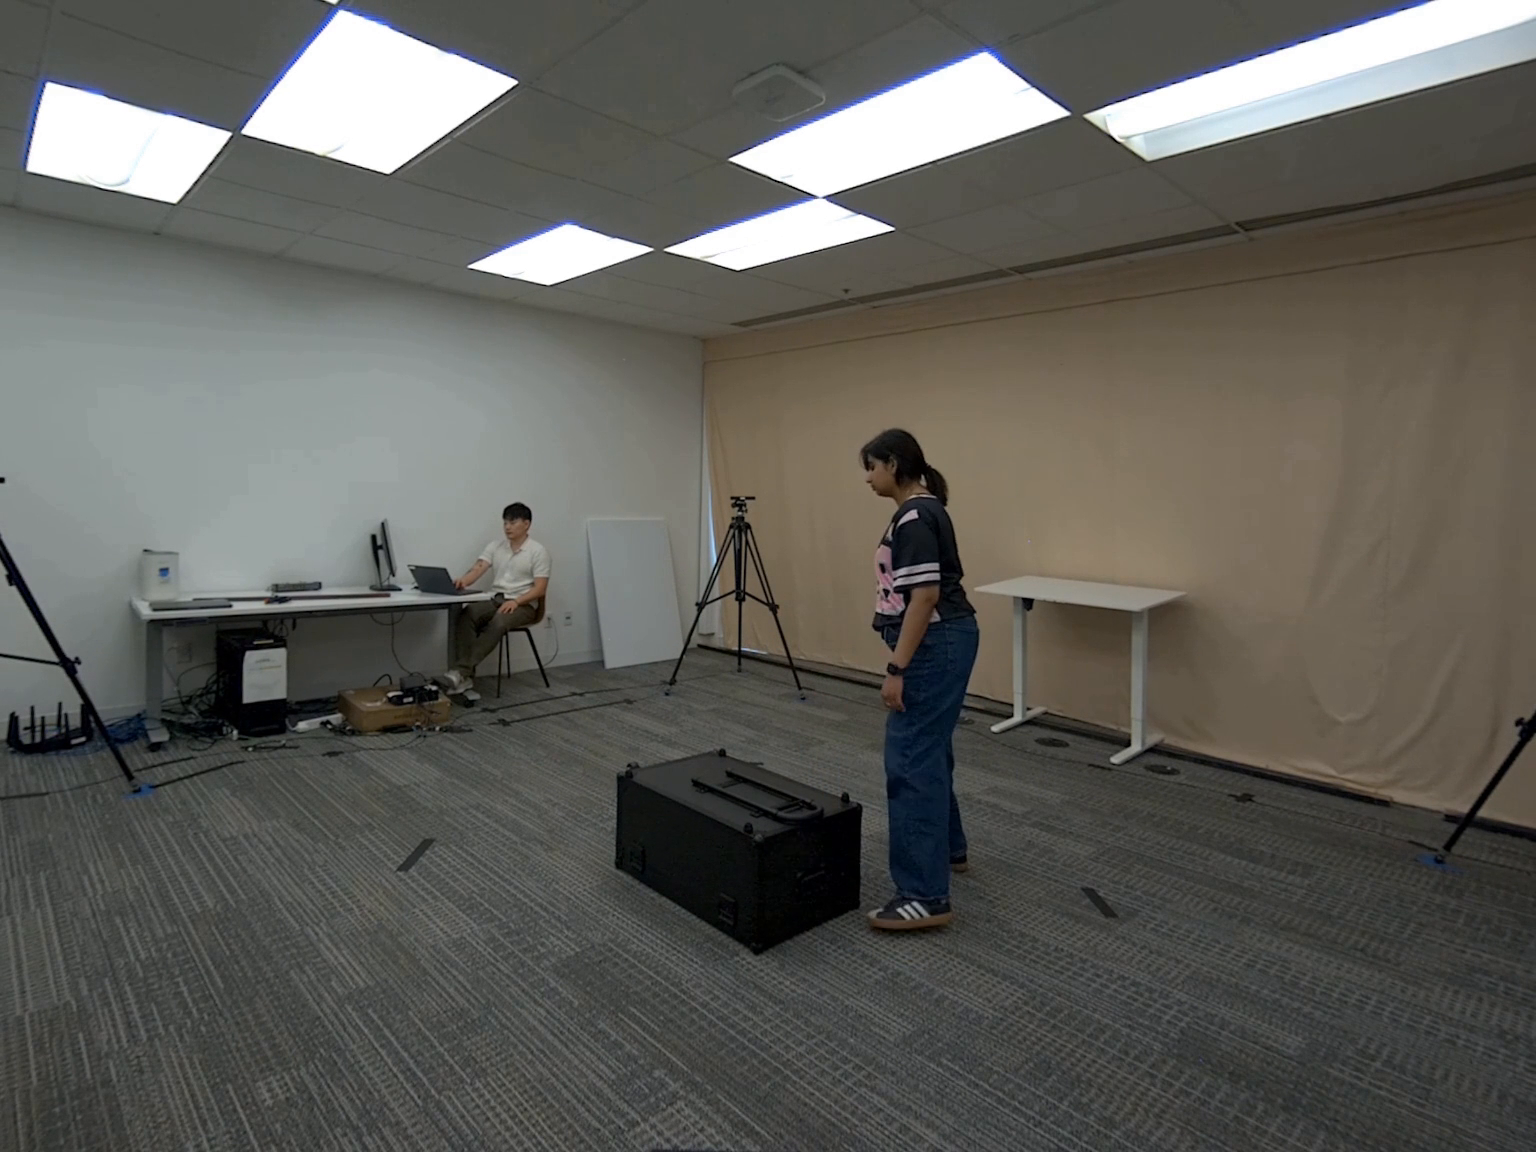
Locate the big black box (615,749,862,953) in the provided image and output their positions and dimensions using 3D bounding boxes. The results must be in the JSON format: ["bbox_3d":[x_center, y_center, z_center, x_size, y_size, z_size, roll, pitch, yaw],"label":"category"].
[{"bbox_3d":[-0.160,0.929,3.019,0.512,0.384,0.891,-4,7,-42],"label":"big black box"}]
